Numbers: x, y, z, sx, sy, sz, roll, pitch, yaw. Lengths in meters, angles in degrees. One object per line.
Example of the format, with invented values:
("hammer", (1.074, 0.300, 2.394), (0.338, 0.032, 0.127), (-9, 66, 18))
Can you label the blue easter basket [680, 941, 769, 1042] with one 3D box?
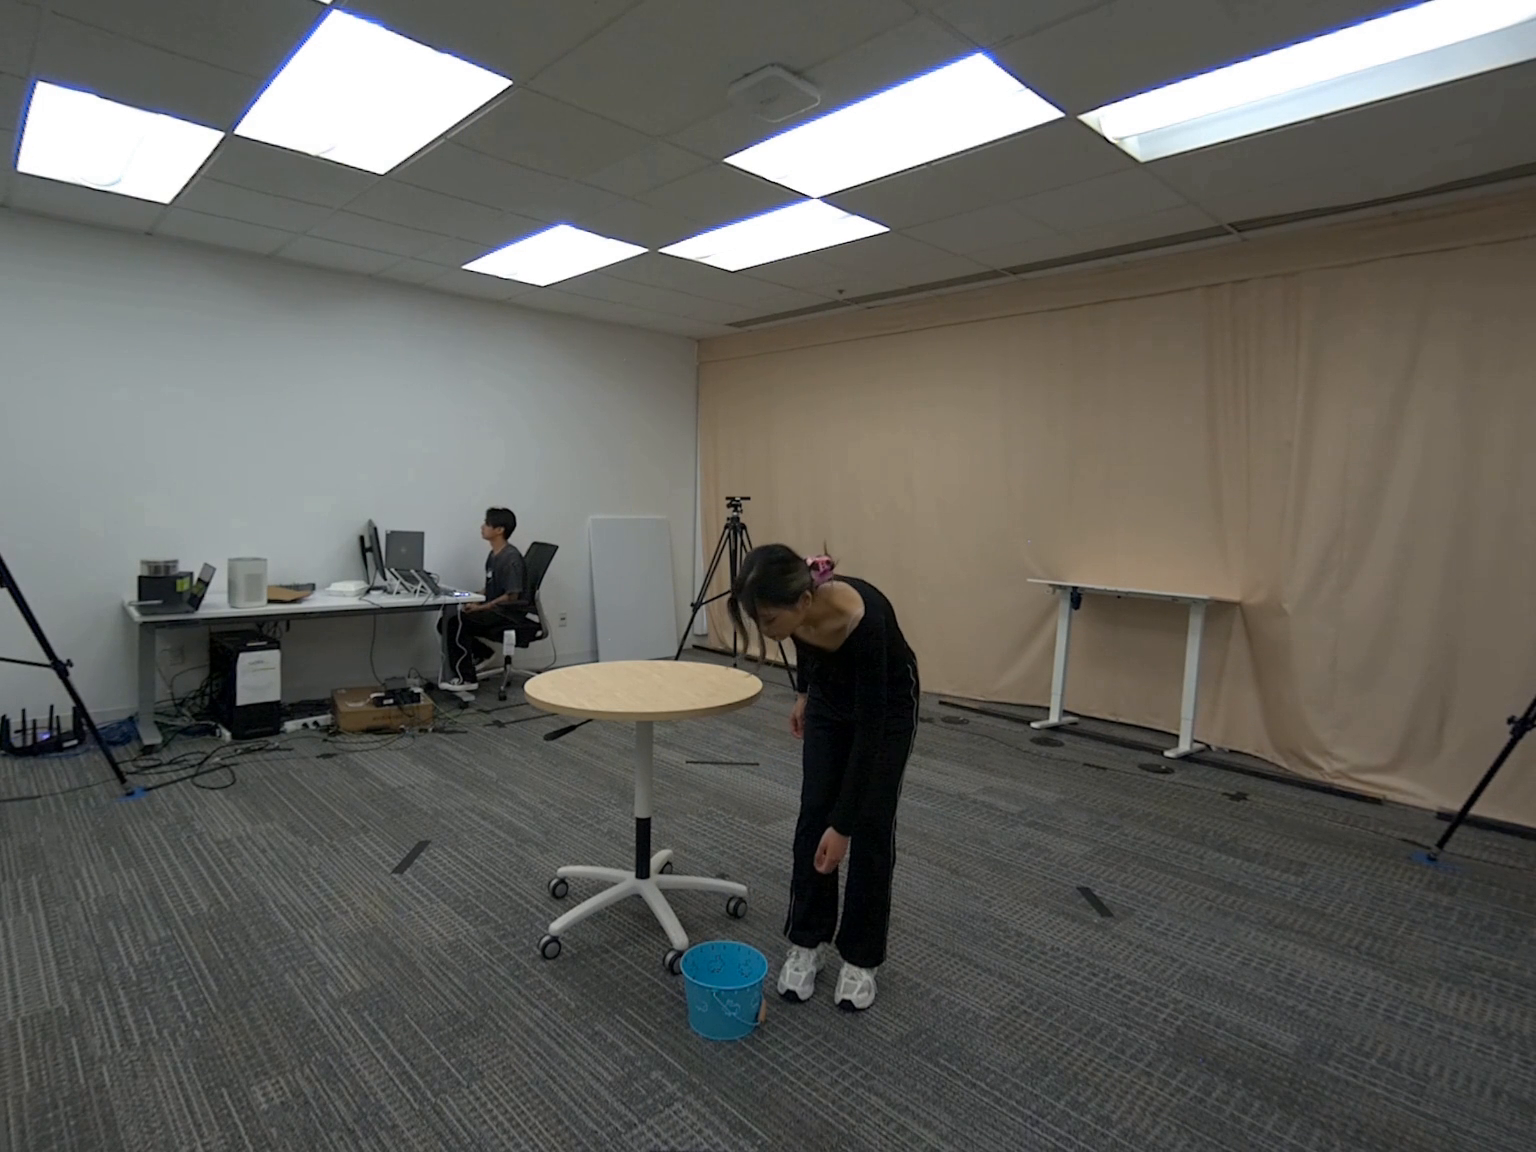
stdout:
("blue easter basket", (-0.125, 1.110, 2.241), (0.243, 0.155, 0.244), (1, 5, -1))
